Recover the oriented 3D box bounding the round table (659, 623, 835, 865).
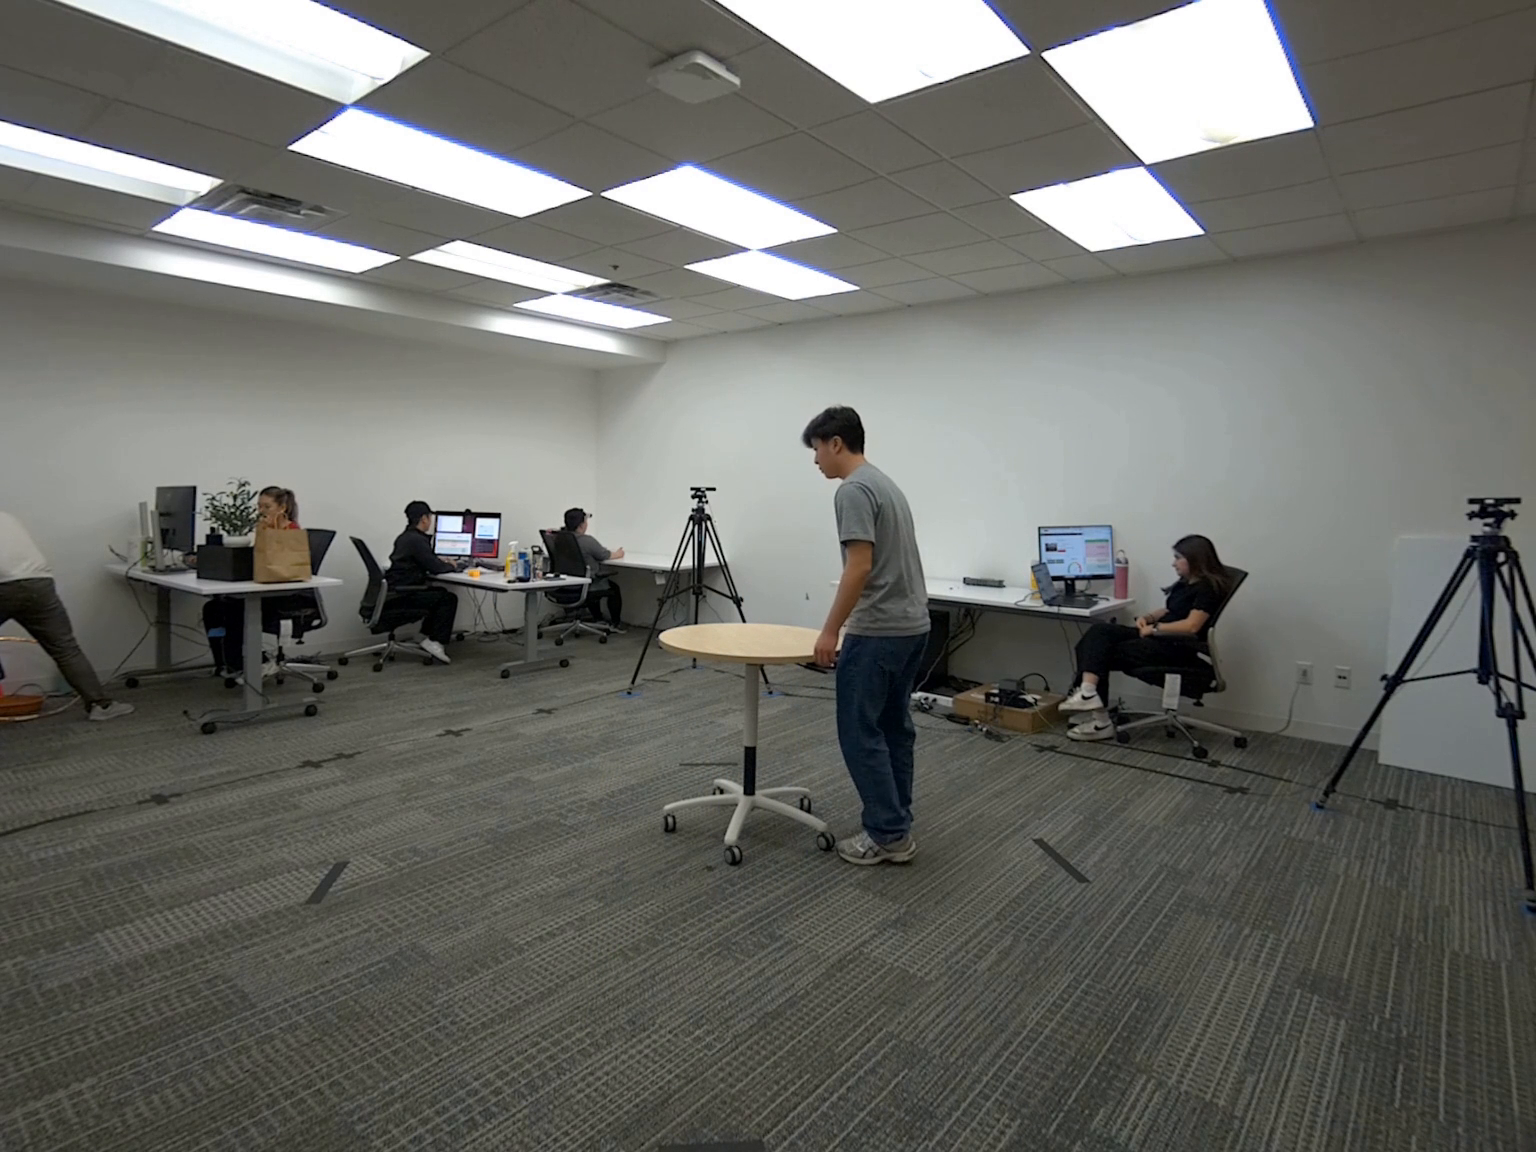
[{"bbox_3d":[-0.087,0.642,3.477,0.763,0.791,0.768,1,4,-2],"label":"round table"}]
